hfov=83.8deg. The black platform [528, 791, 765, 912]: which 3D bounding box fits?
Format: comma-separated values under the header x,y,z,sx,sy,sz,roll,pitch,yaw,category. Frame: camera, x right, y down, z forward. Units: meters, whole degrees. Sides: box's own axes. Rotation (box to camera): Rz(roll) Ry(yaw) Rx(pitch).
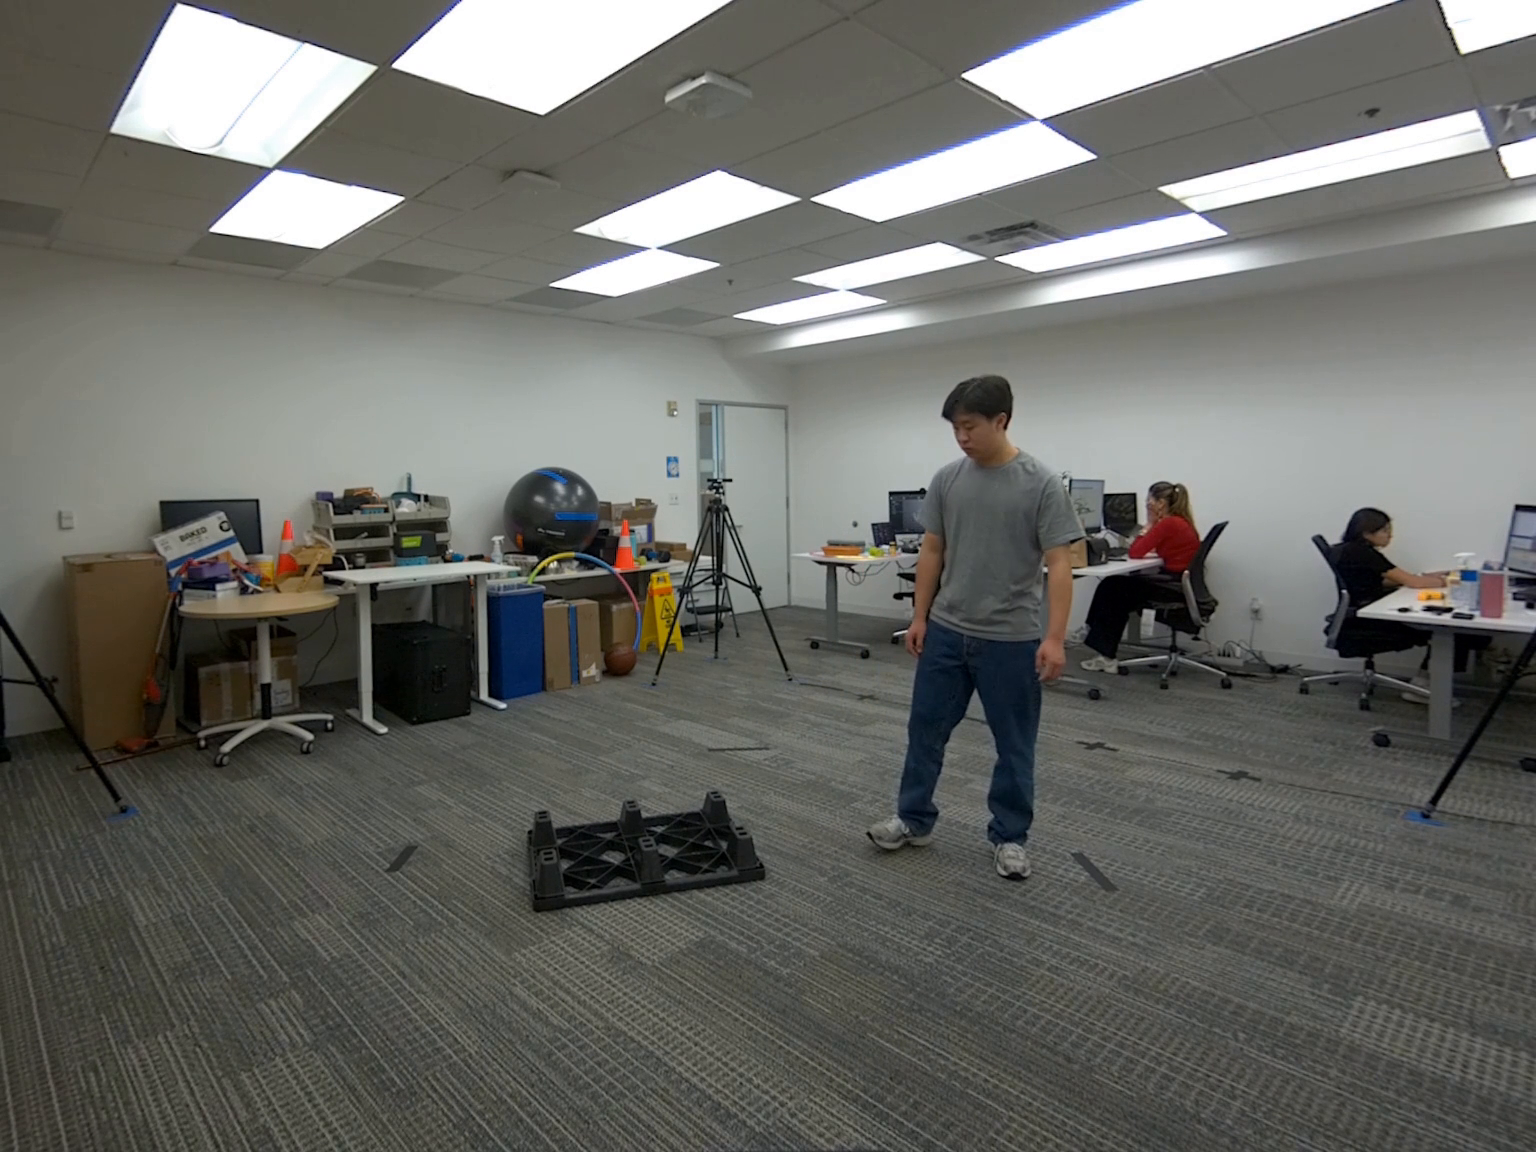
x,y,z,sx,sy,sz,roll,pitch,yaw,category
-0.472,0.978,3.156,0.794,0.143,0.617,-3,6,-16,black platform
